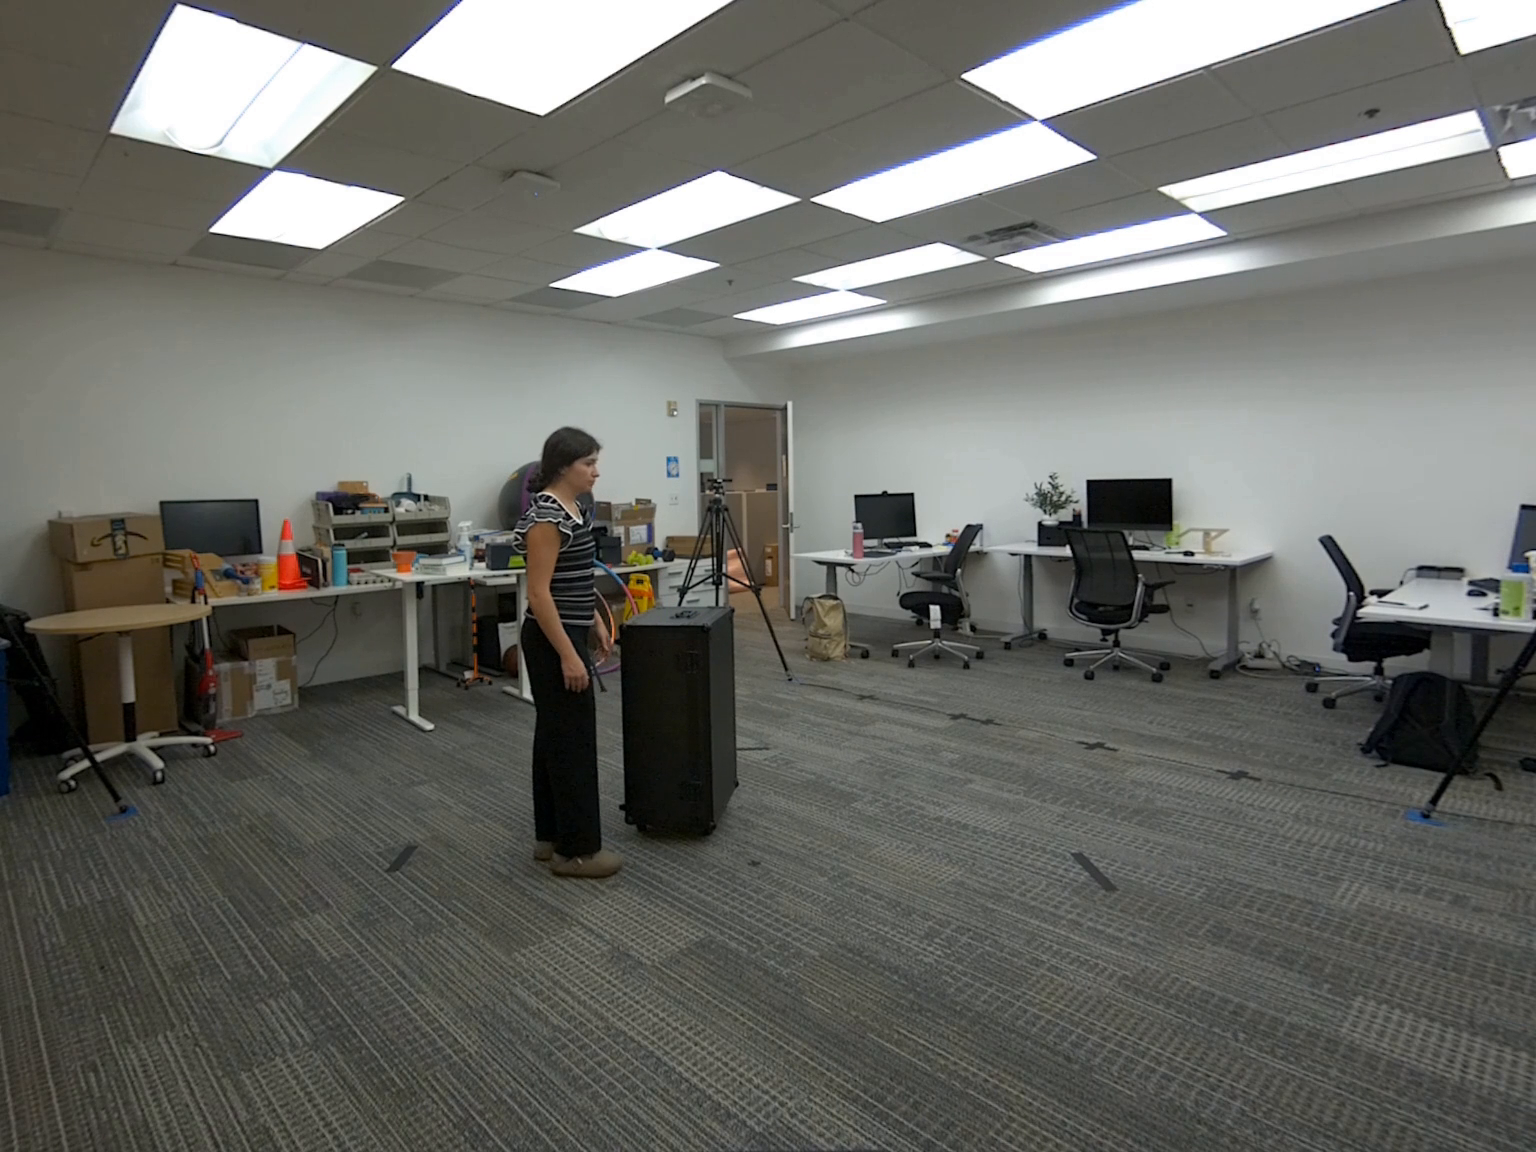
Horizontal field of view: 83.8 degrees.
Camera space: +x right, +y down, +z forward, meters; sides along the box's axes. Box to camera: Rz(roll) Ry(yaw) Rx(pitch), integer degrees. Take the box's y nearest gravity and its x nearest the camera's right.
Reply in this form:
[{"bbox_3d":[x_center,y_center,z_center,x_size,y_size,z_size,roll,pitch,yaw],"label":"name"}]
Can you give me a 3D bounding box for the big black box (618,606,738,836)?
[{"bbox_3d":[-0.359,0.582,3.487,0.401,0.858,0.517,0,4,11],"label":"big black box"}]
